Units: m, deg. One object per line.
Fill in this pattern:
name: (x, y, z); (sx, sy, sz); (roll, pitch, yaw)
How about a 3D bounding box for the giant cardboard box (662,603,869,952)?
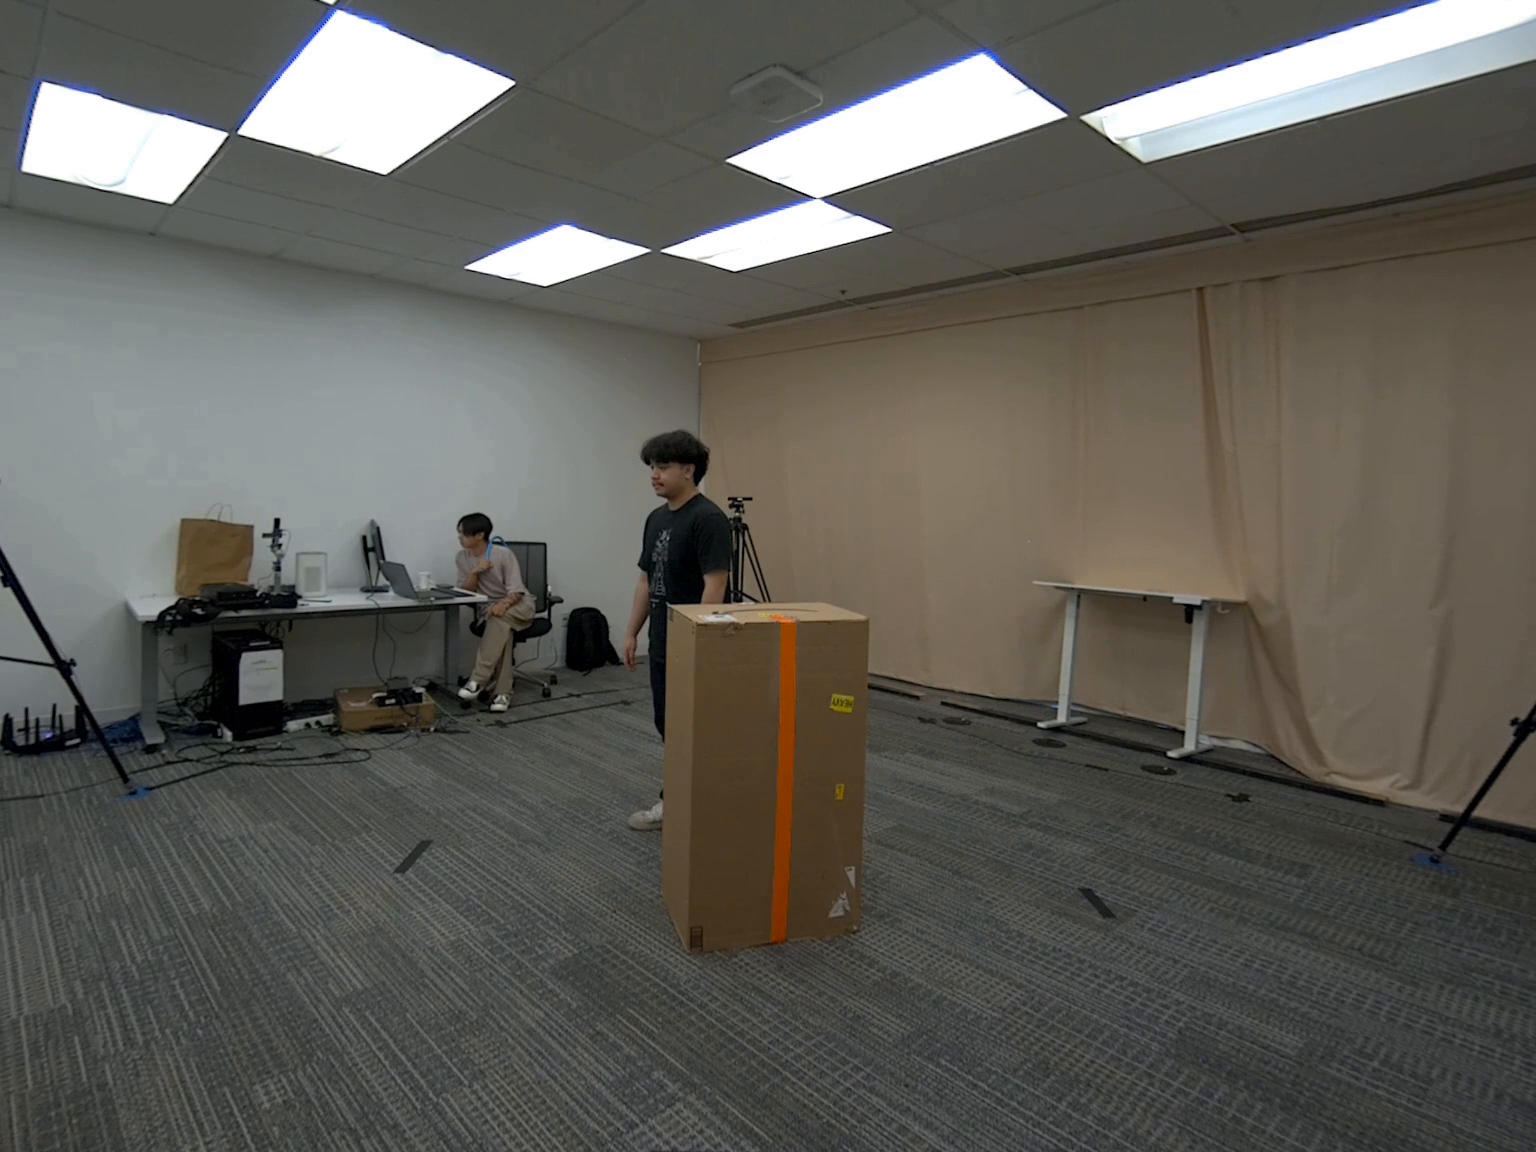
giant cardboard box: (-0.028, 0.624, 2.815); (0.576, 1.024, 0.454); (0, 4, -17)
